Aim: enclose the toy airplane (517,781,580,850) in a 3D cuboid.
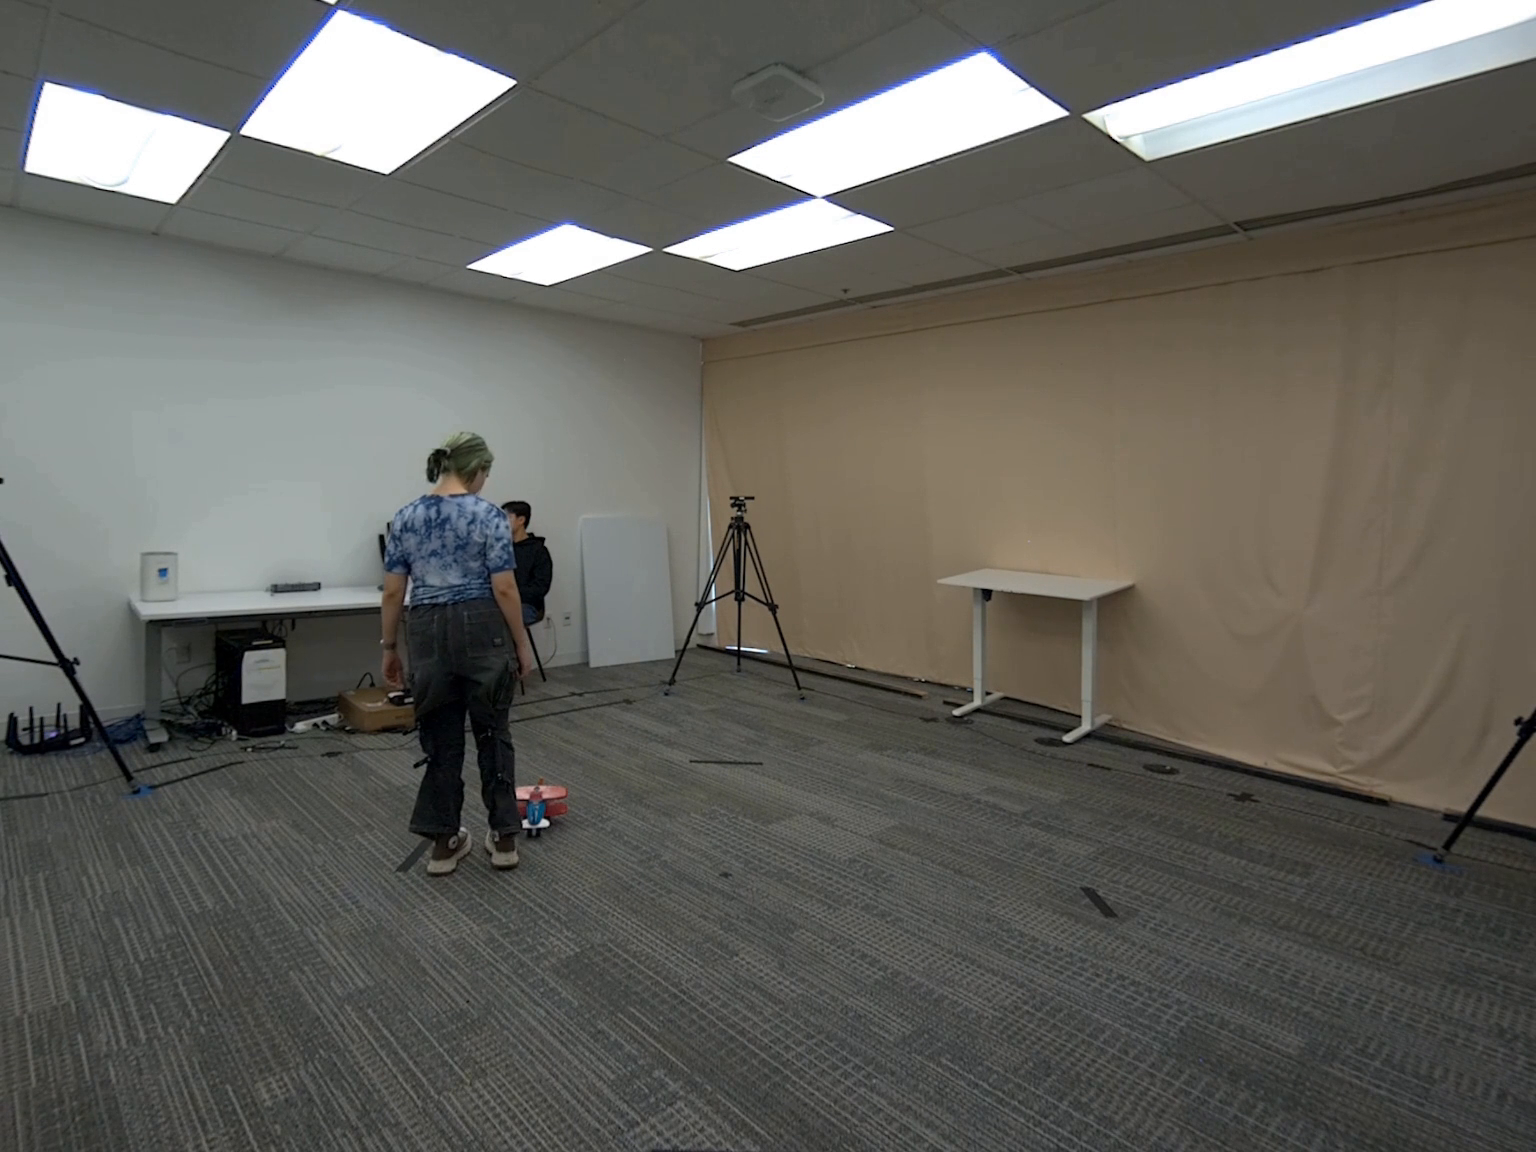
[{"bbox_3d":[-0.955,0.982,3.501,0.245,0.156,0.265,-3,5,-38],"label":"toy airplane"}]
